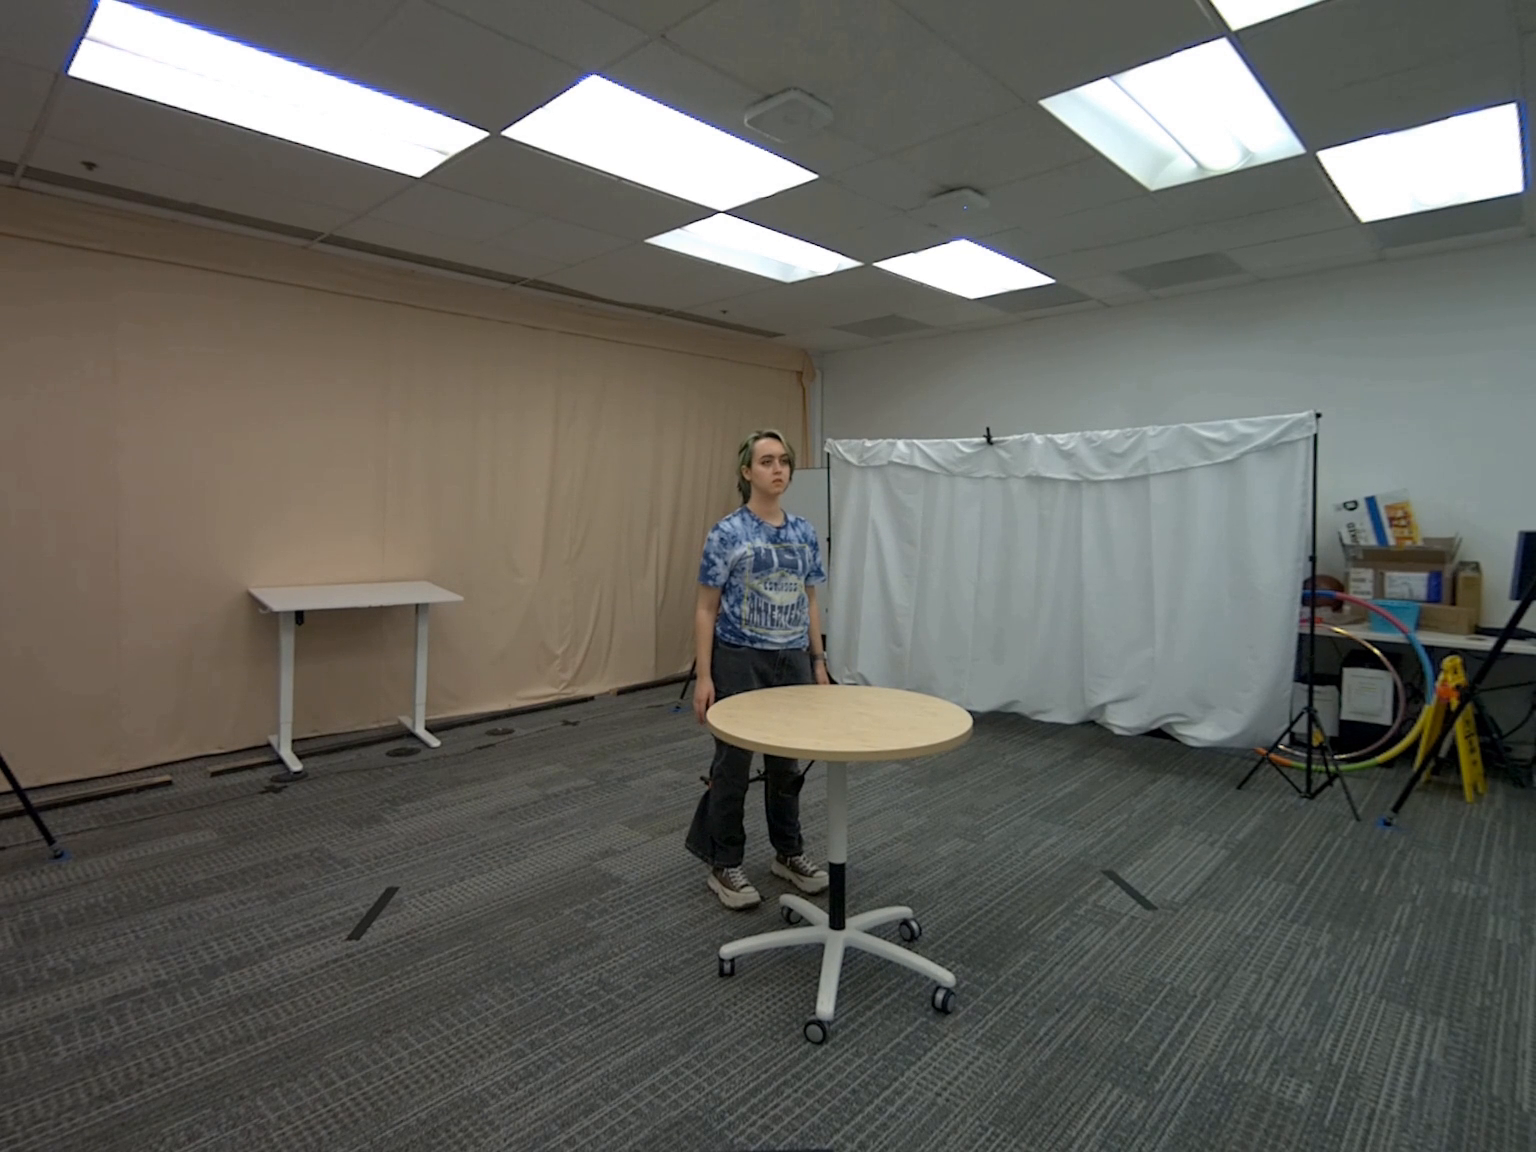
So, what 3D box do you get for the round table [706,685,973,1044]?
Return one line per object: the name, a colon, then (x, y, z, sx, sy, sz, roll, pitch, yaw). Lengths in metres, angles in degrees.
round table: (0.209, 0.798, 2.485, 0.763, 0.792, 0.767, 0, 4, -2)
